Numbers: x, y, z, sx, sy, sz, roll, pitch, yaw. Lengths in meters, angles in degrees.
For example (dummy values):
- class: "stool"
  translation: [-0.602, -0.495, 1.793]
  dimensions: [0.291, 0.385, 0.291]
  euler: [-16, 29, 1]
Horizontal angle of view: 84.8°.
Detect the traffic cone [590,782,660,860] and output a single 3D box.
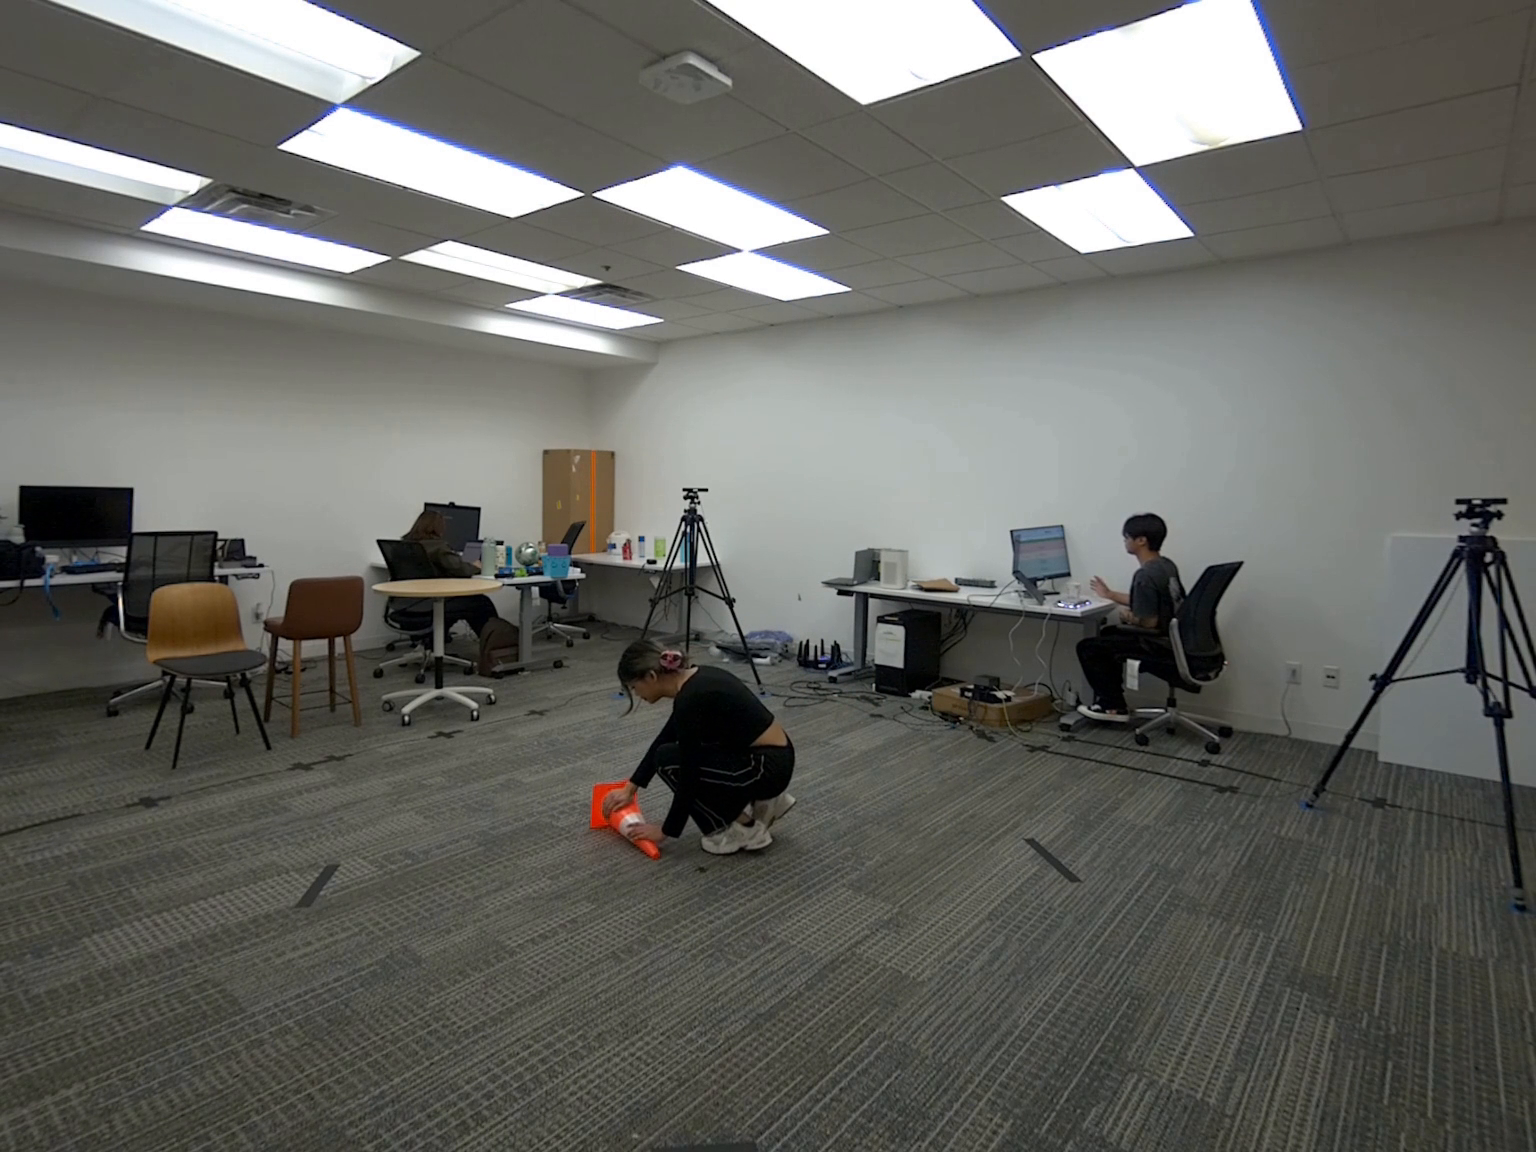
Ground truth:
- class: "traffic cone"
  translation: [-0.539, 0.988, 3.347]
  dimensions: [0.198, 0.202, 0.399]
  euler: [-2, 18, -33]
